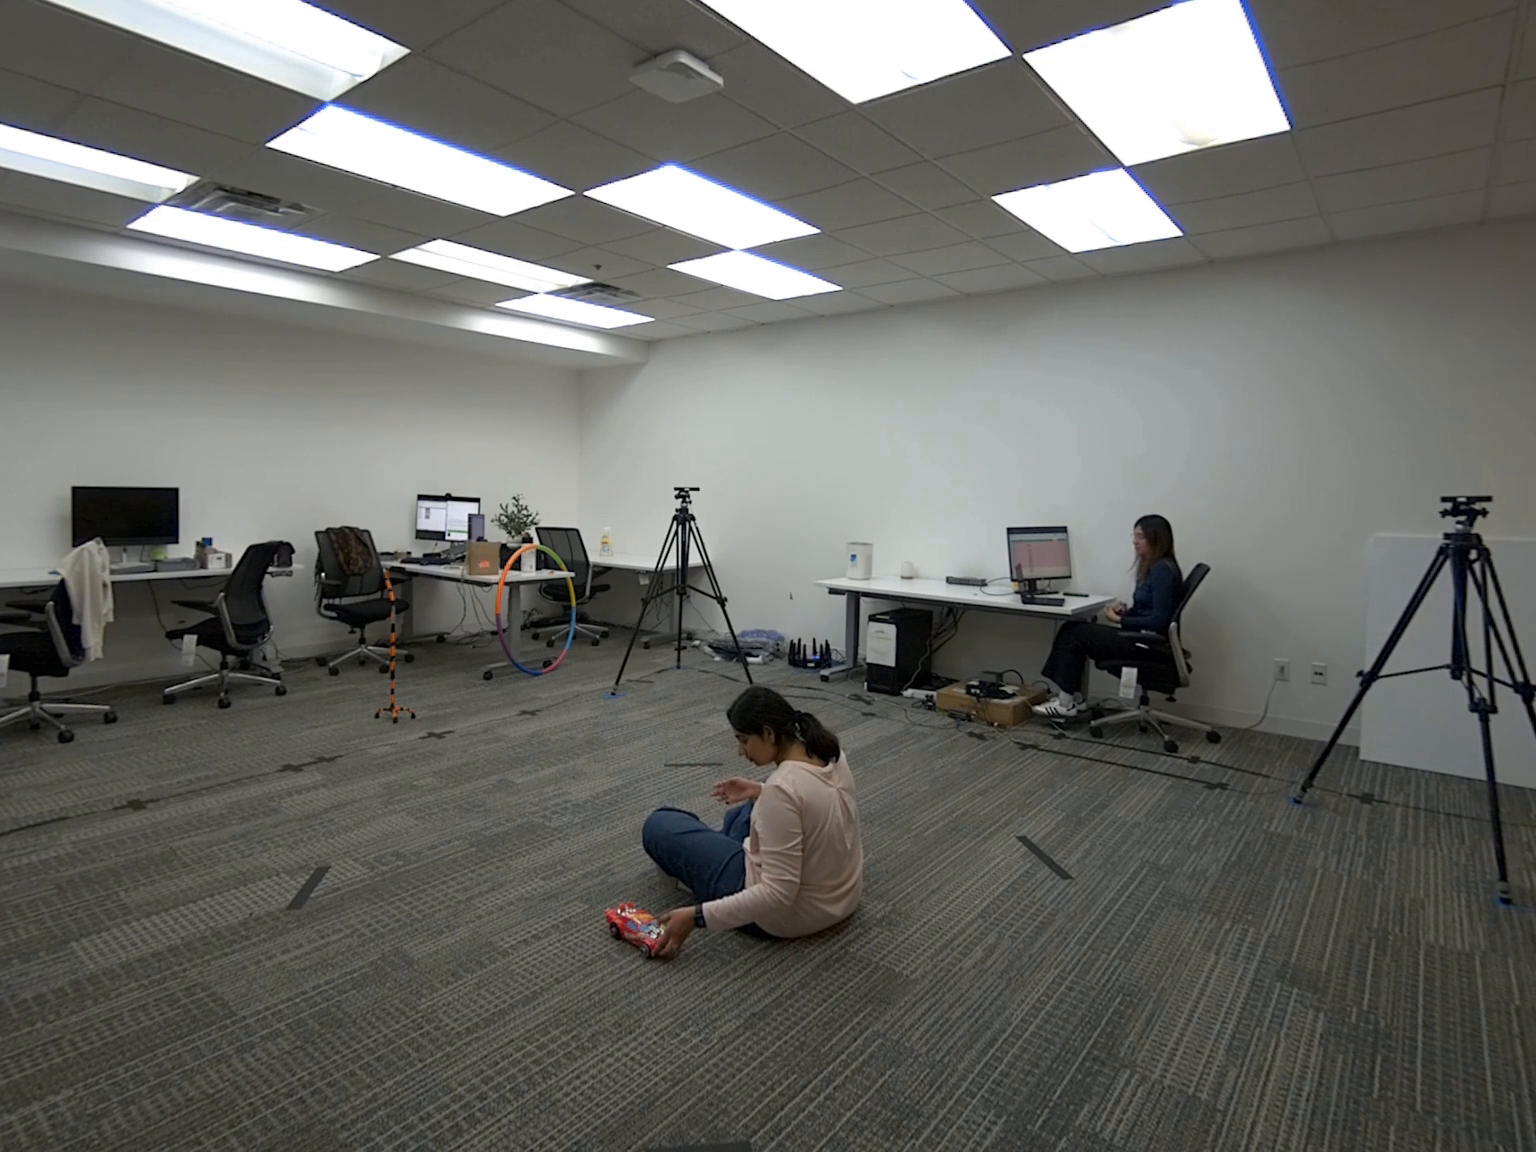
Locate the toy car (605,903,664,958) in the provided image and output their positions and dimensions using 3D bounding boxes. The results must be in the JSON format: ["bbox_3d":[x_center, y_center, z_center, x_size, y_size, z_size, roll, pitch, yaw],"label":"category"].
[{"bbox_3d":[-0.409,1.078,2.615,0.126,0.082,0.265,-5,20,-45],"label":"toy car"}]
